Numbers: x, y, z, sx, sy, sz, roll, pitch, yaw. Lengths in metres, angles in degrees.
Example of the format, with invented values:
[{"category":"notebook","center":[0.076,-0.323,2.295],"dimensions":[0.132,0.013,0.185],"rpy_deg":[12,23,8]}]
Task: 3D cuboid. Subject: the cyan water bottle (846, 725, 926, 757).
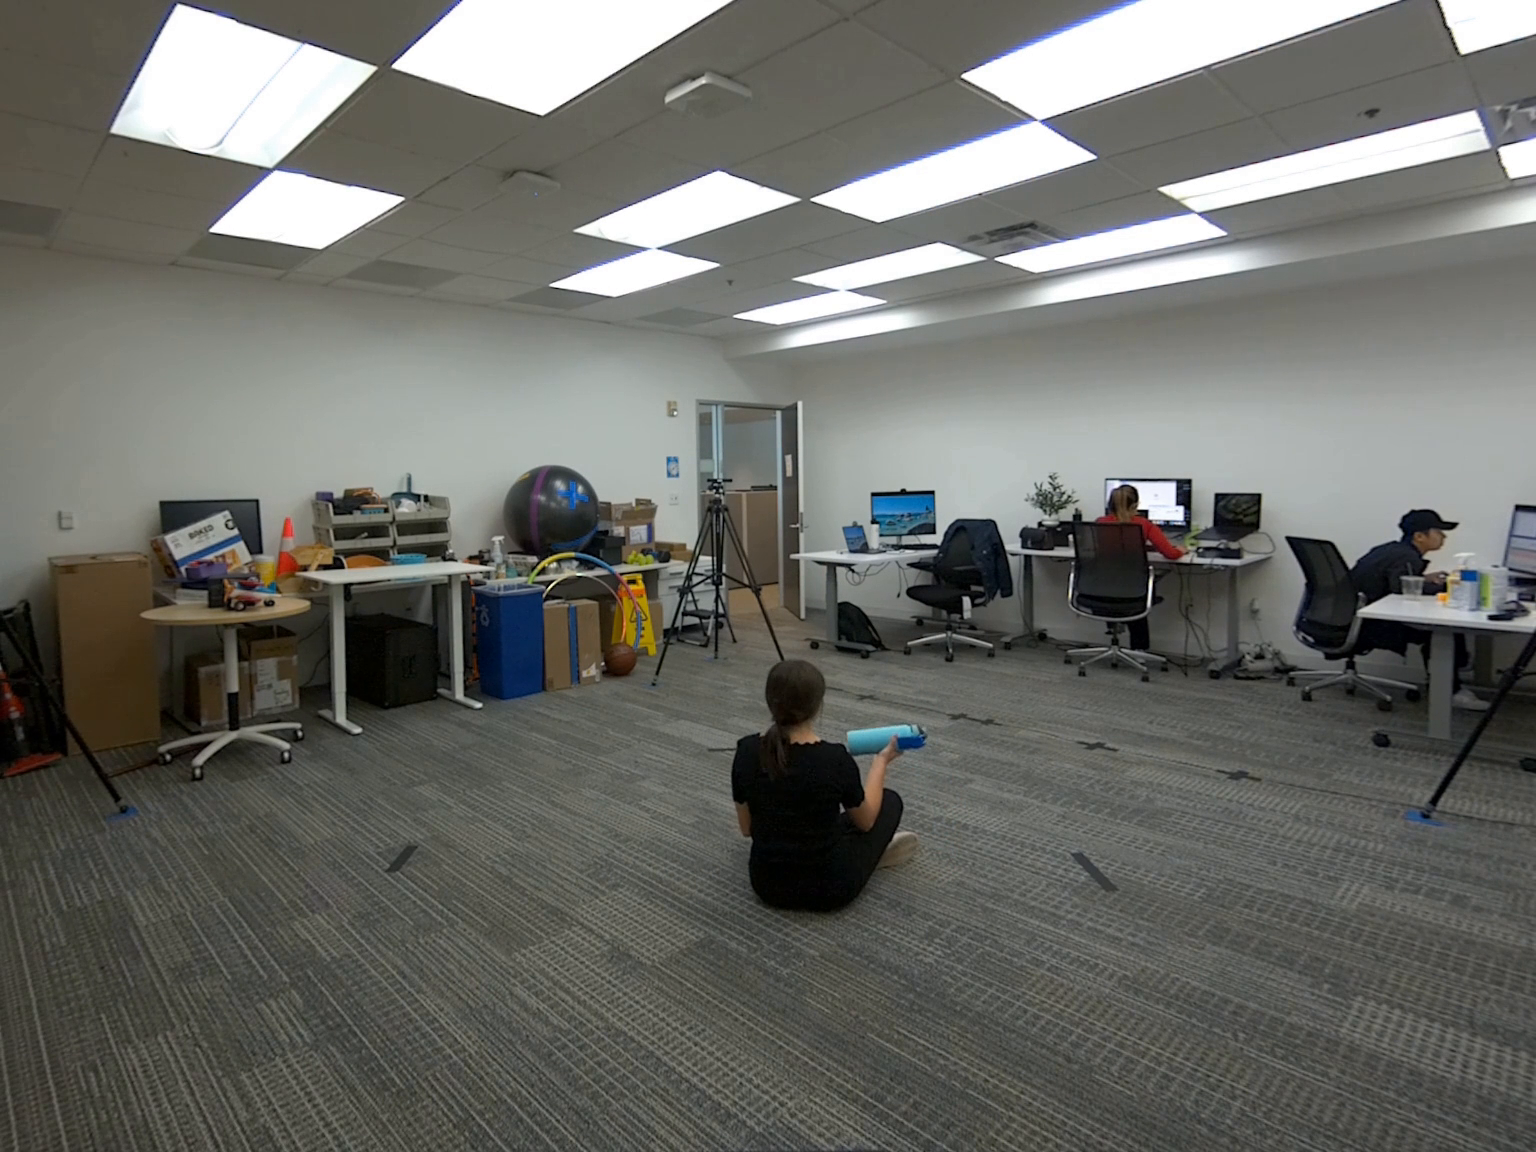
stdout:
[{"category":"cyan water bottle","center":[0.439,0.589,3.094],"dimensions":[0.285,0.092,0.092],"rpy_deg":[-8,4,9]}]
